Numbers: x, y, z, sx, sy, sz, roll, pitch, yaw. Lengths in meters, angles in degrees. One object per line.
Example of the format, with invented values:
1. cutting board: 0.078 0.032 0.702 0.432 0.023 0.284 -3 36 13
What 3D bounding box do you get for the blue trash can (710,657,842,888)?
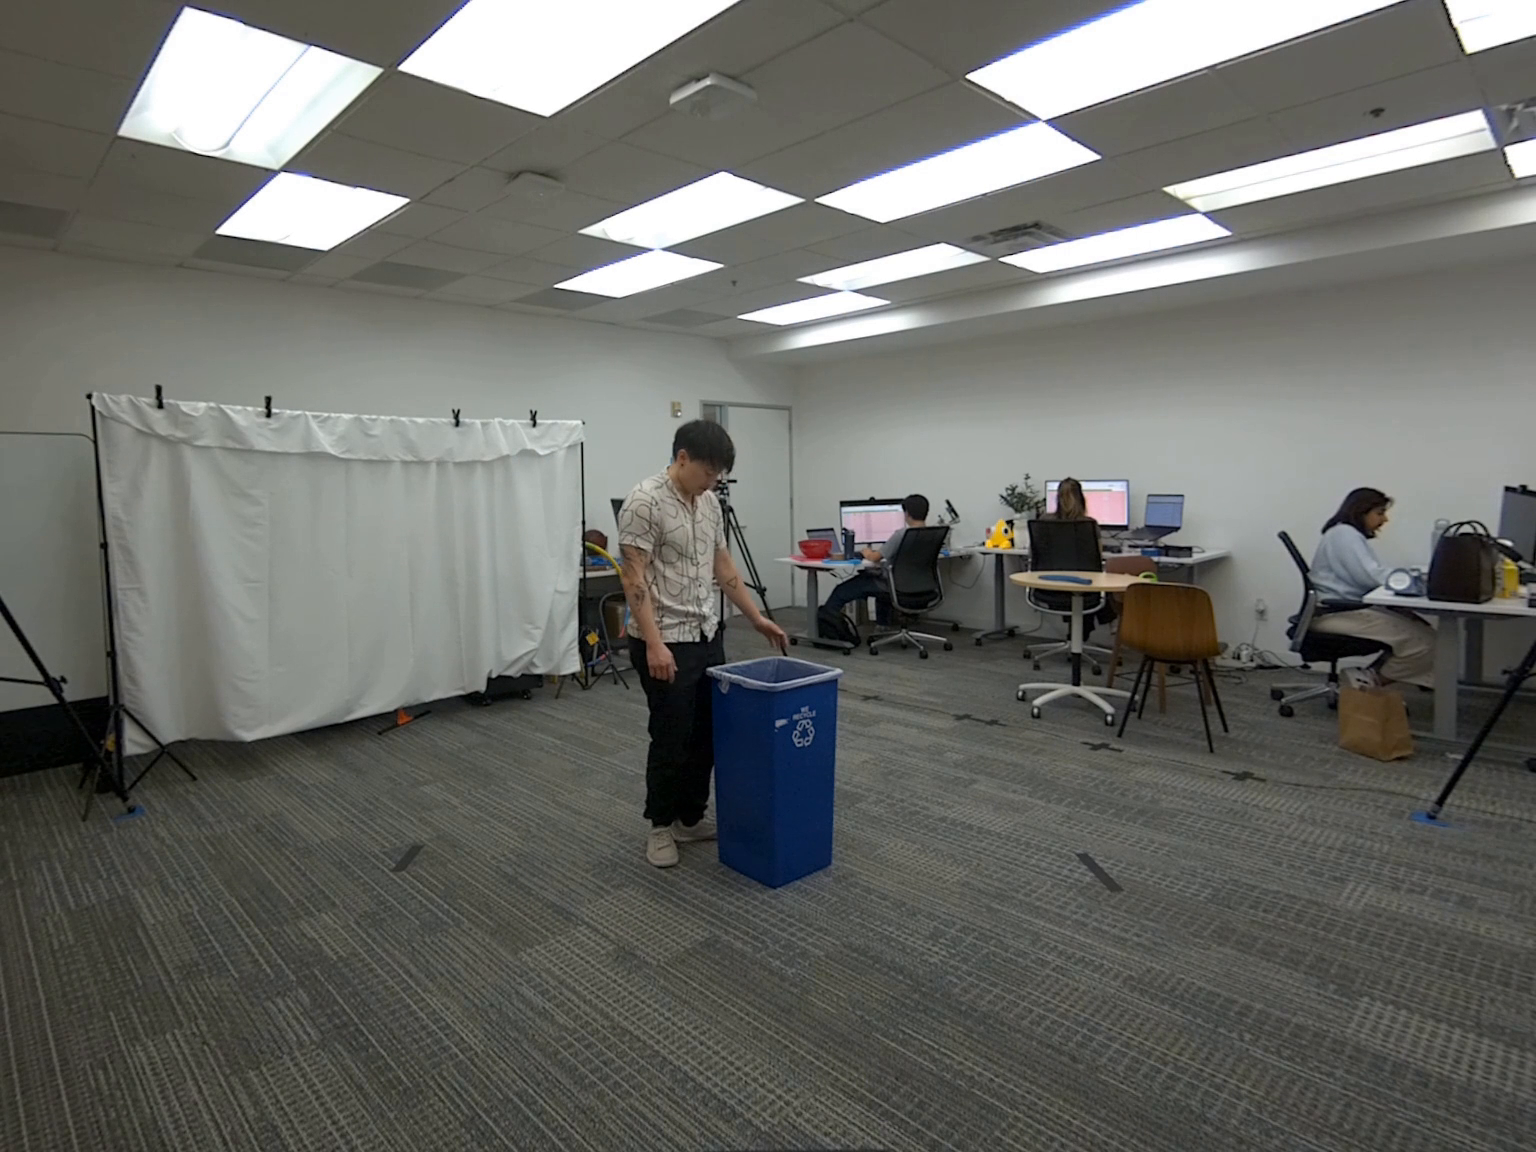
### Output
1. blue trash can: 0.033 0.689 3.089 0.368 0.711 0.385 -4 5 -42
